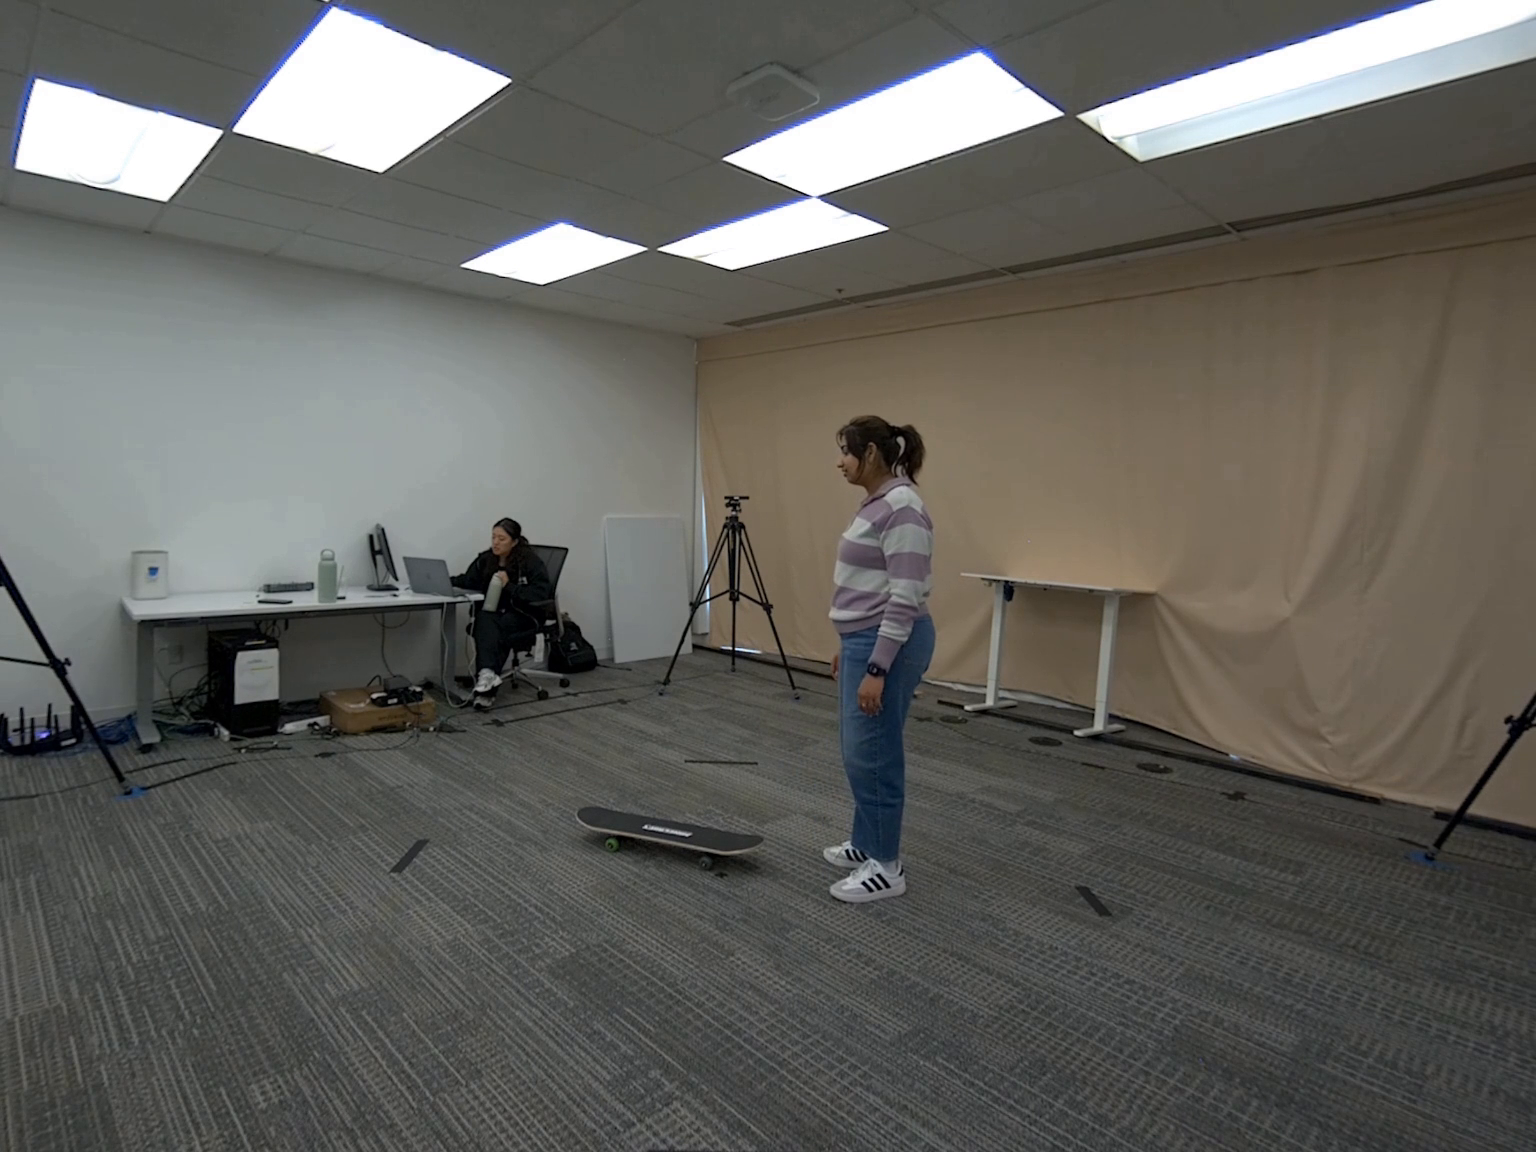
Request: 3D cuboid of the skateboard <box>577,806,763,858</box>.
[{"bbox_3d":[-0.397,1.017,3.288,0.798,0.110,0.191,4,5,20],"label":"skateboard"}]
